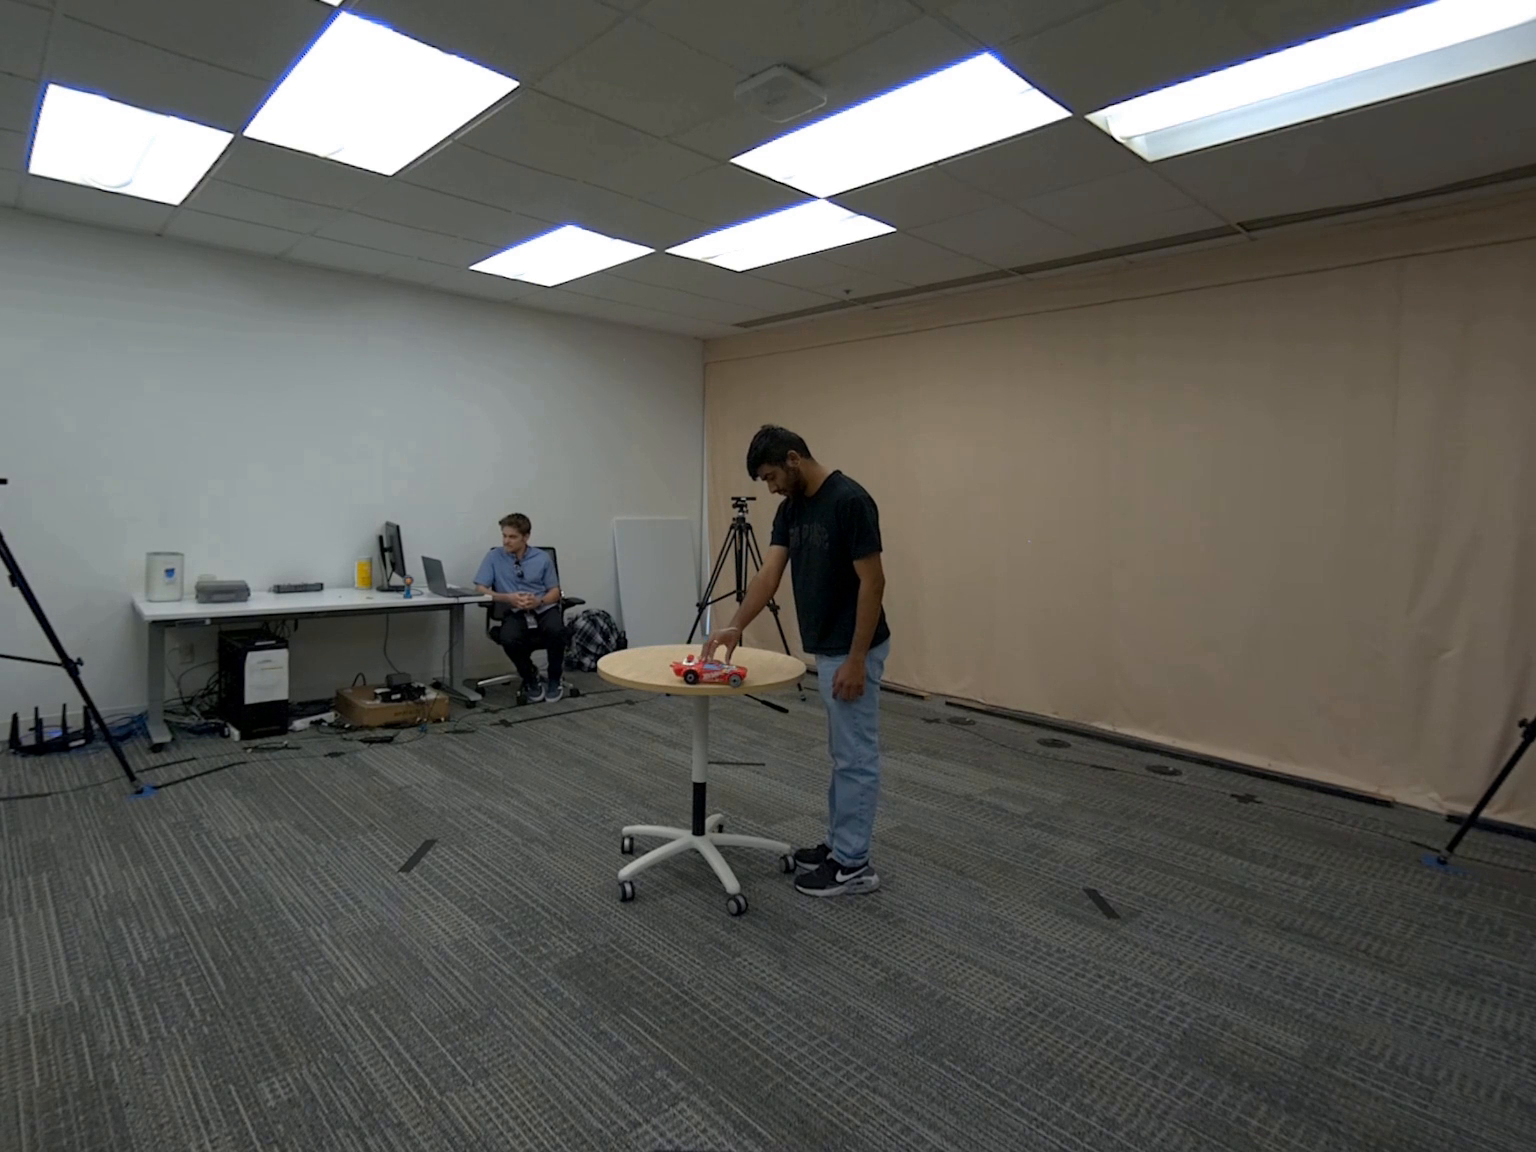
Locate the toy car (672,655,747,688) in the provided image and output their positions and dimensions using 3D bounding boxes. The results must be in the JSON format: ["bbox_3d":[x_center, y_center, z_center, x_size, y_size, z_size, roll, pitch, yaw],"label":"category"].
[{"bbox_3d":[-0.197,0.319,2.798,0.255,0.083,0.130,13,4,3],"label":"toy car"}]
